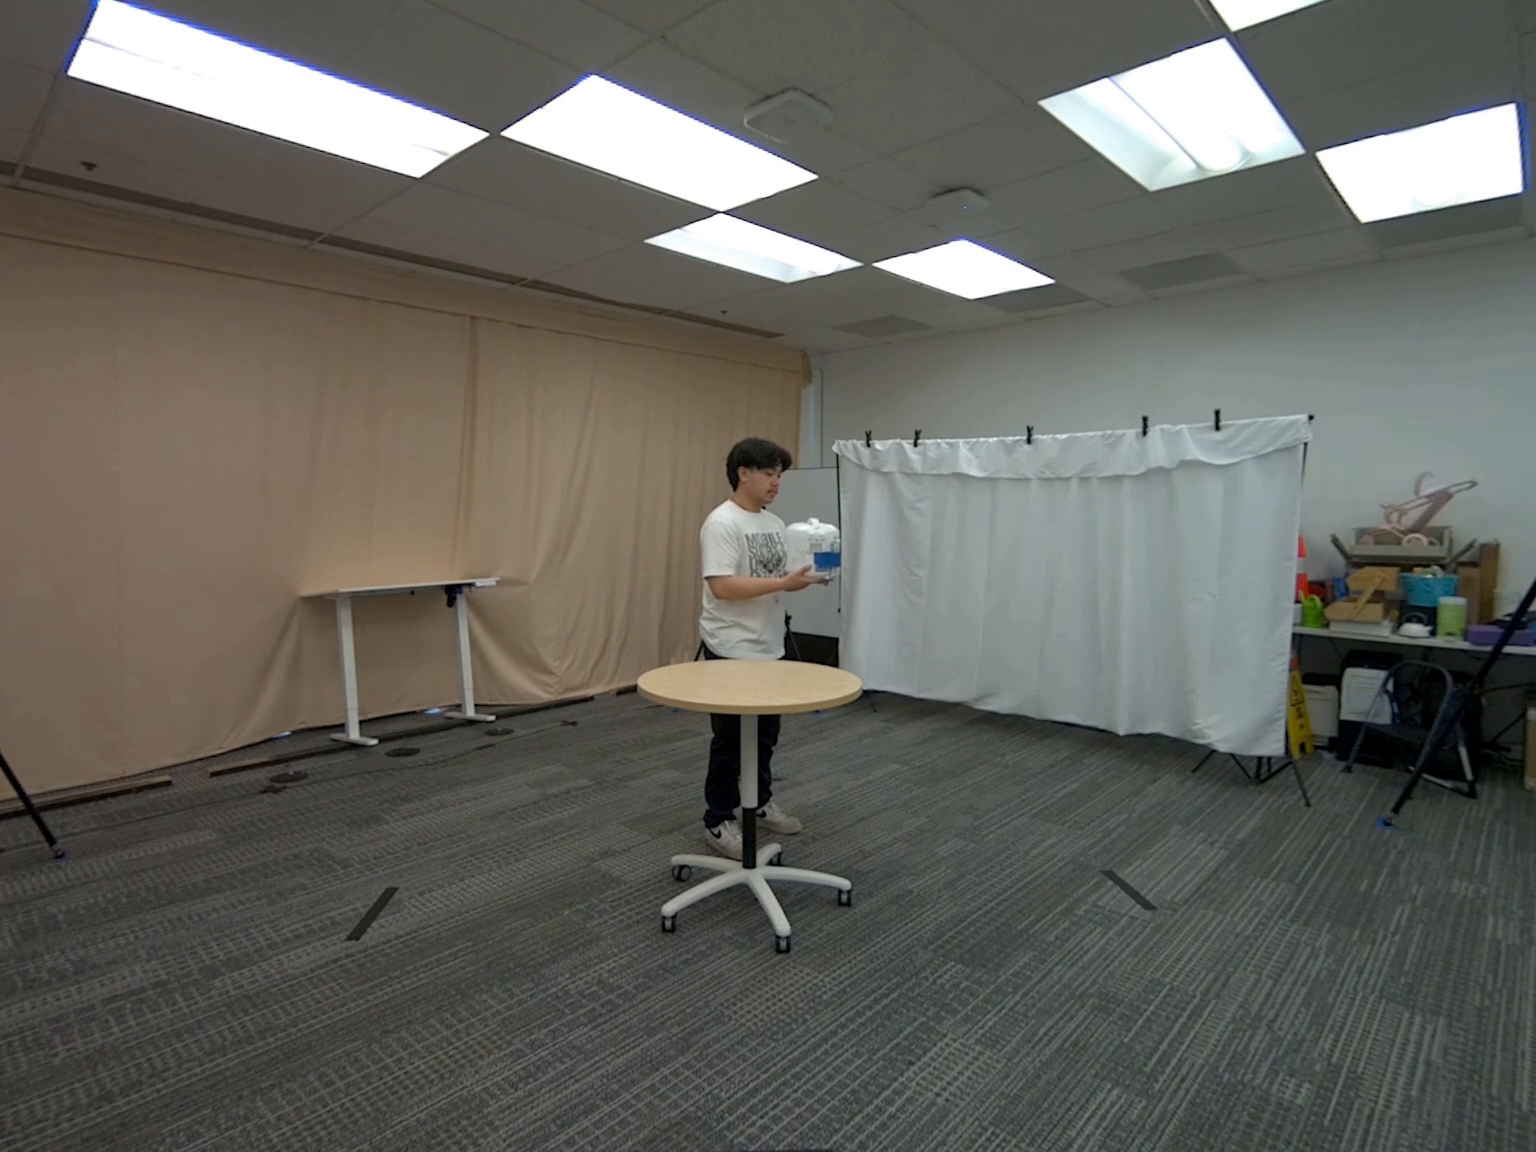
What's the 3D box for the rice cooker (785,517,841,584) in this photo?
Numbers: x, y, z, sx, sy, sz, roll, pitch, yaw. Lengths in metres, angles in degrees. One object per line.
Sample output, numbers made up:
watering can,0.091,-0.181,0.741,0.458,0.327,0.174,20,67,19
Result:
rice cooker,0.173,-0.112,3.321,0.217,0.232,0.222,2,6,-3
